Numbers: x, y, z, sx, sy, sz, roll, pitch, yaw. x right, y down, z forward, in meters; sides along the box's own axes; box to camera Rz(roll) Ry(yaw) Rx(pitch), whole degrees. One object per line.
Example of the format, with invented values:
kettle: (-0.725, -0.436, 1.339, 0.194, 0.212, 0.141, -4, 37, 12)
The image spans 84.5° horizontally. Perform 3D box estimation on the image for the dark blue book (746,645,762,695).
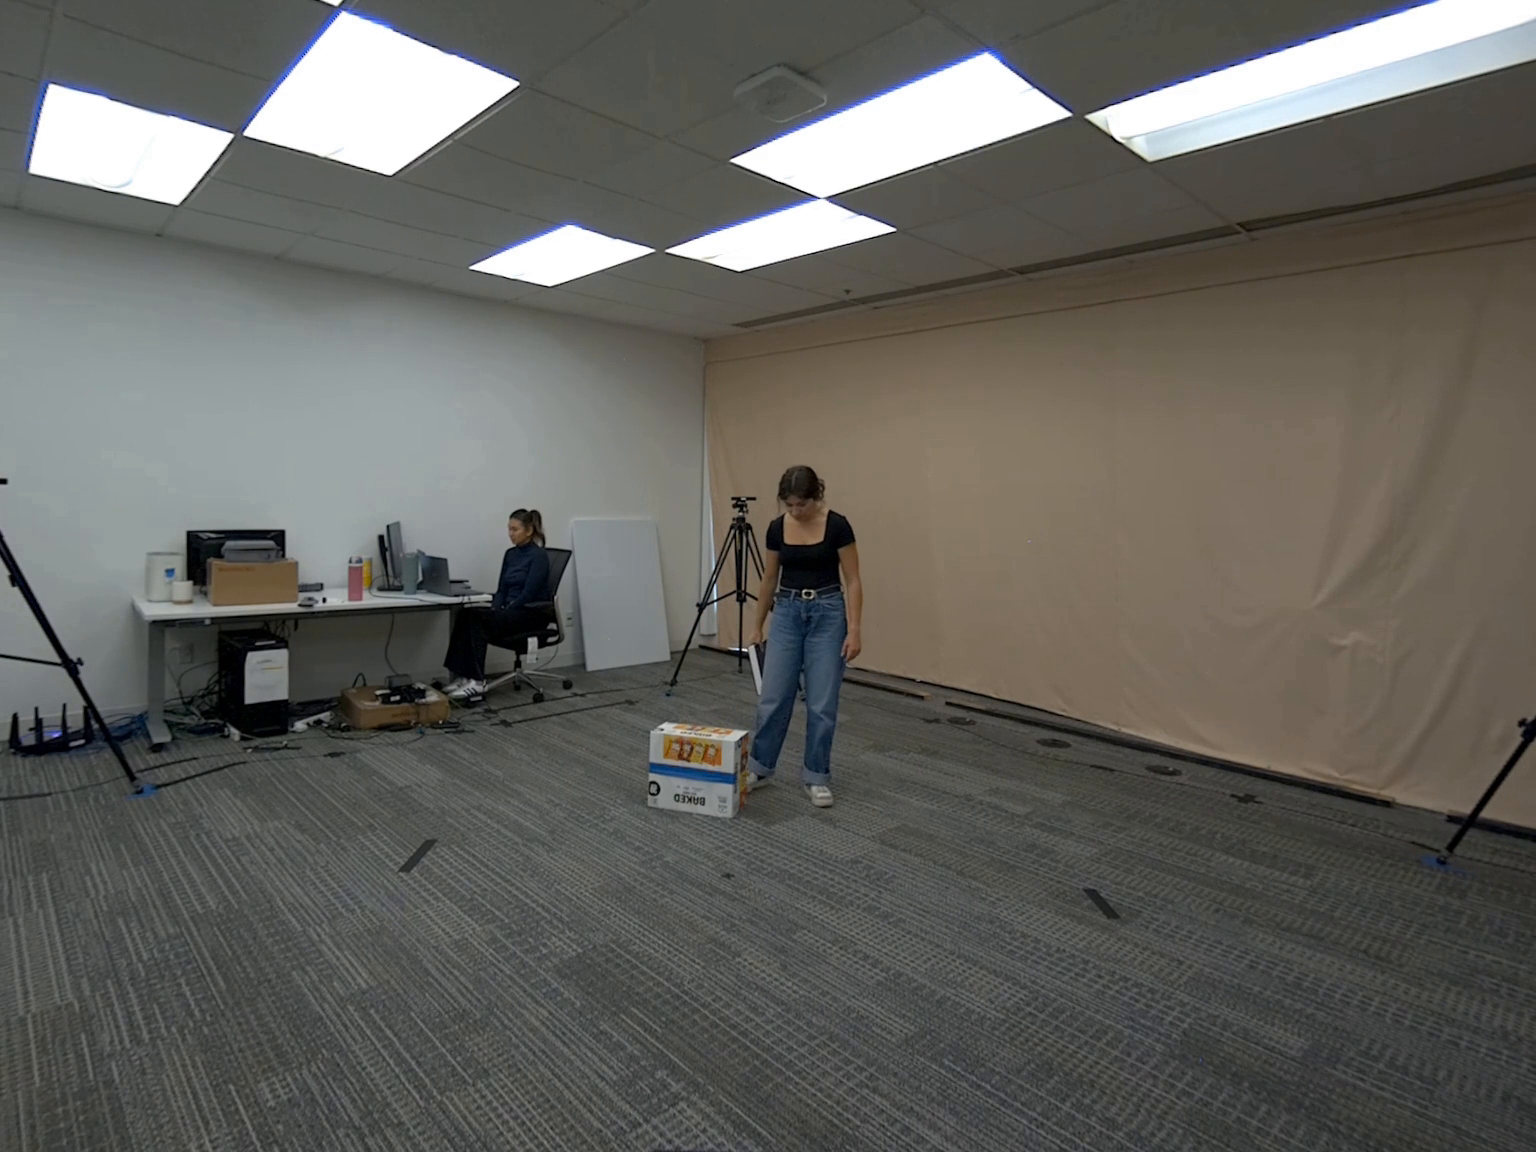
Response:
dark blue book: (-0.038, 0.442, 4.106, 0.046, 0.245, 0.161, -12, -1, 23)
